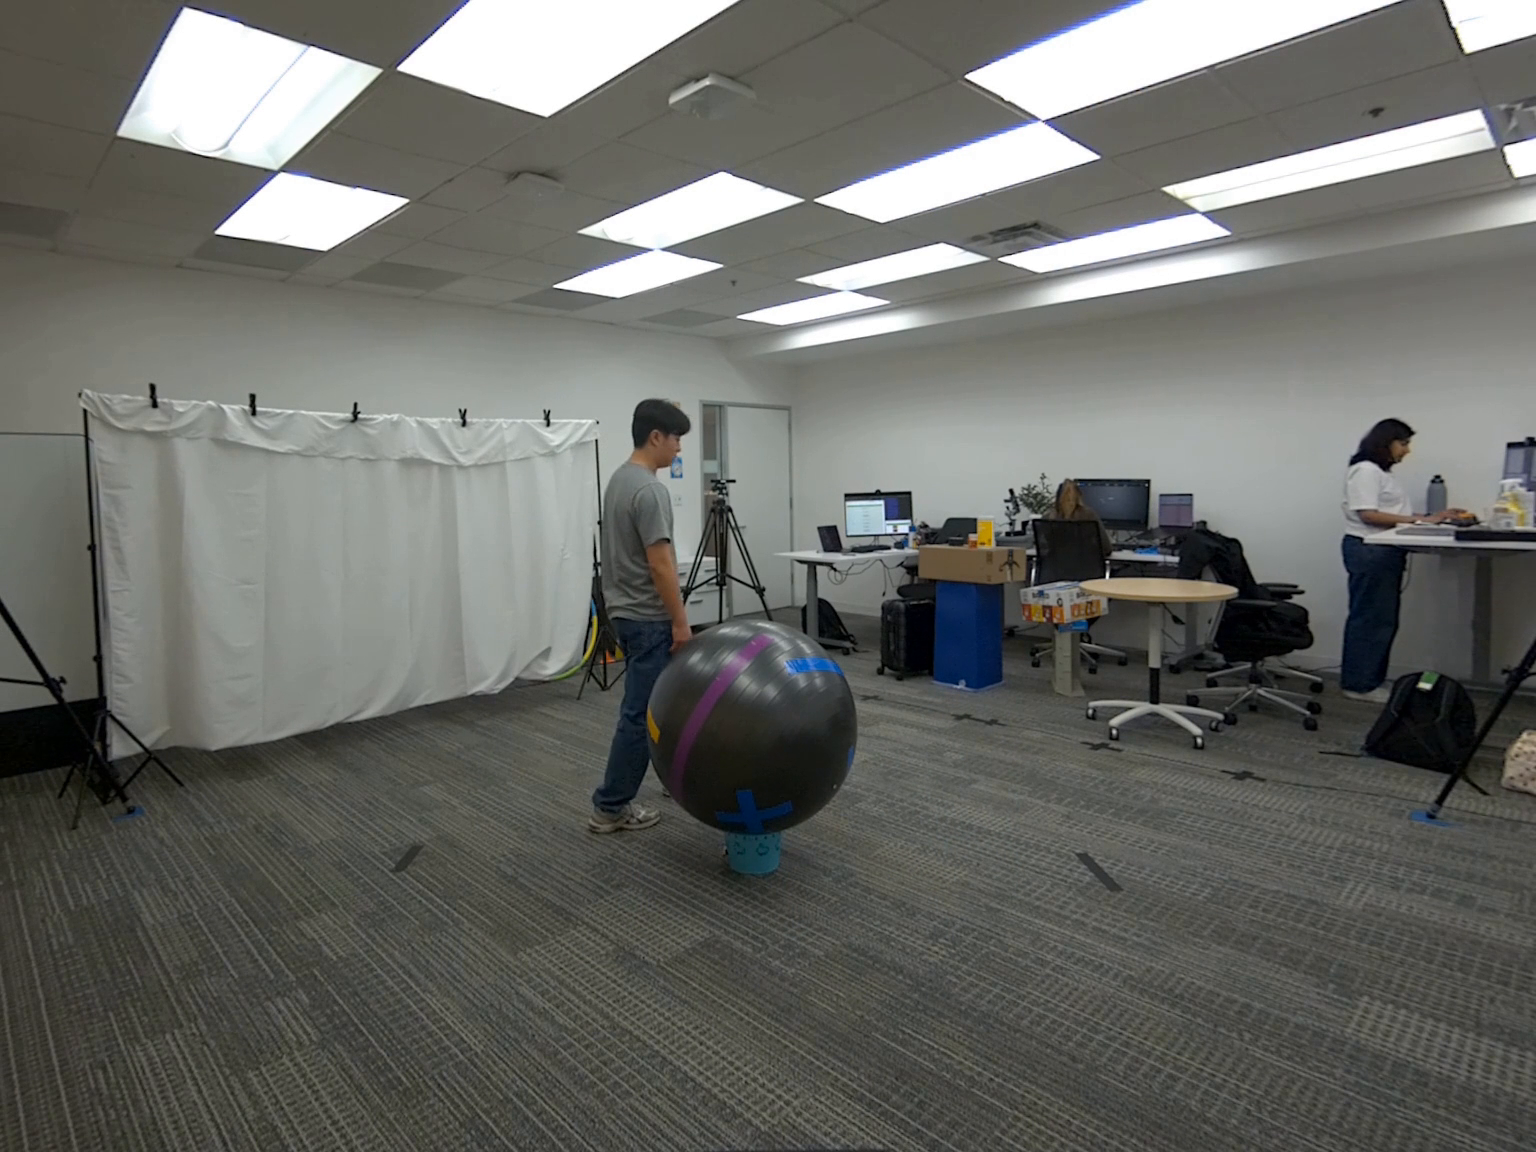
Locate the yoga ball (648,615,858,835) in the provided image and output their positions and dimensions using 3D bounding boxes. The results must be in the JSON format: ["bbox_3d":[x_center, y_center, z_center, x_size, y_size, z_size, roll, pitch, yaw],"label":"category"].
[{"bbox_3d":[-0.060,0.535,3.084,0.757,0.755,0.762,-1,5,-2],"label":"yoga ball"}]
